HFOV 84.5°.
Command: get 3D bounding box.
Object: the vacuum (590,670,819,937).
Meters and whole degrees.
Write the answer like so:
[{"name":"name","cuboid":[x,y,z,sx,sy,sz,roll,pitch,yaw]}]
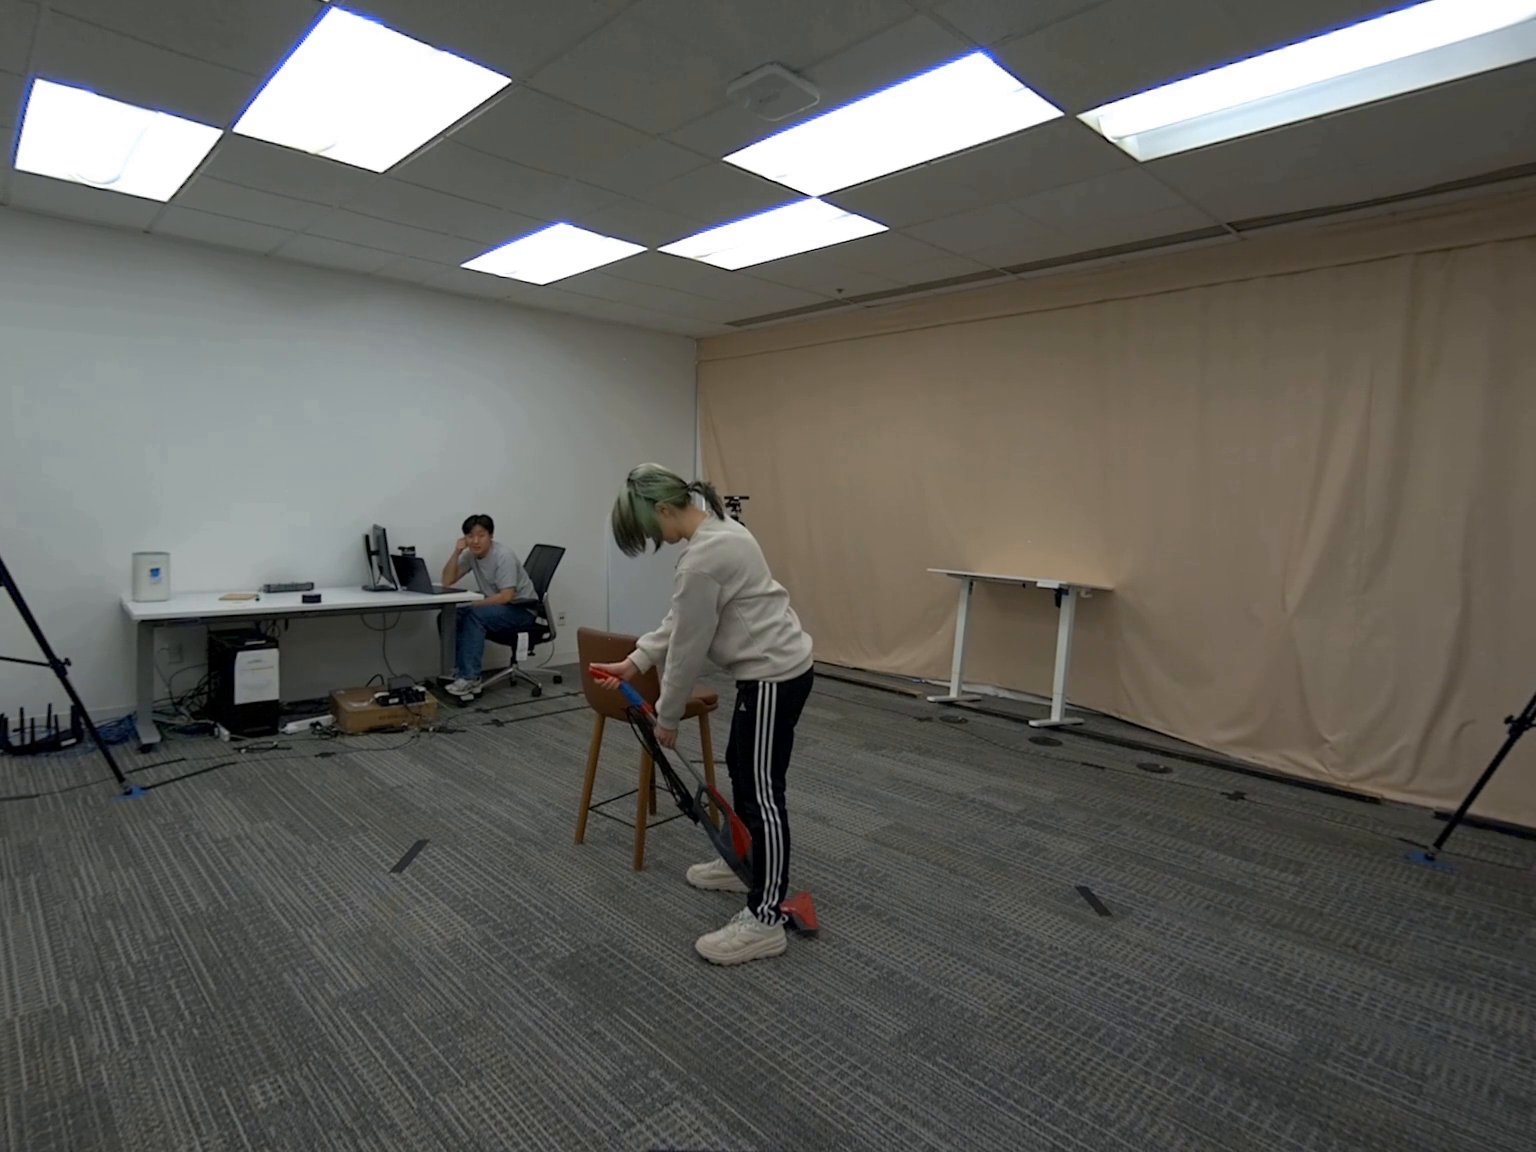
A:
[{"name":"vacuum","cuboid":[-0.253,0.718,2.759,0.144,1.046,0.253,-40,3,0]}]
